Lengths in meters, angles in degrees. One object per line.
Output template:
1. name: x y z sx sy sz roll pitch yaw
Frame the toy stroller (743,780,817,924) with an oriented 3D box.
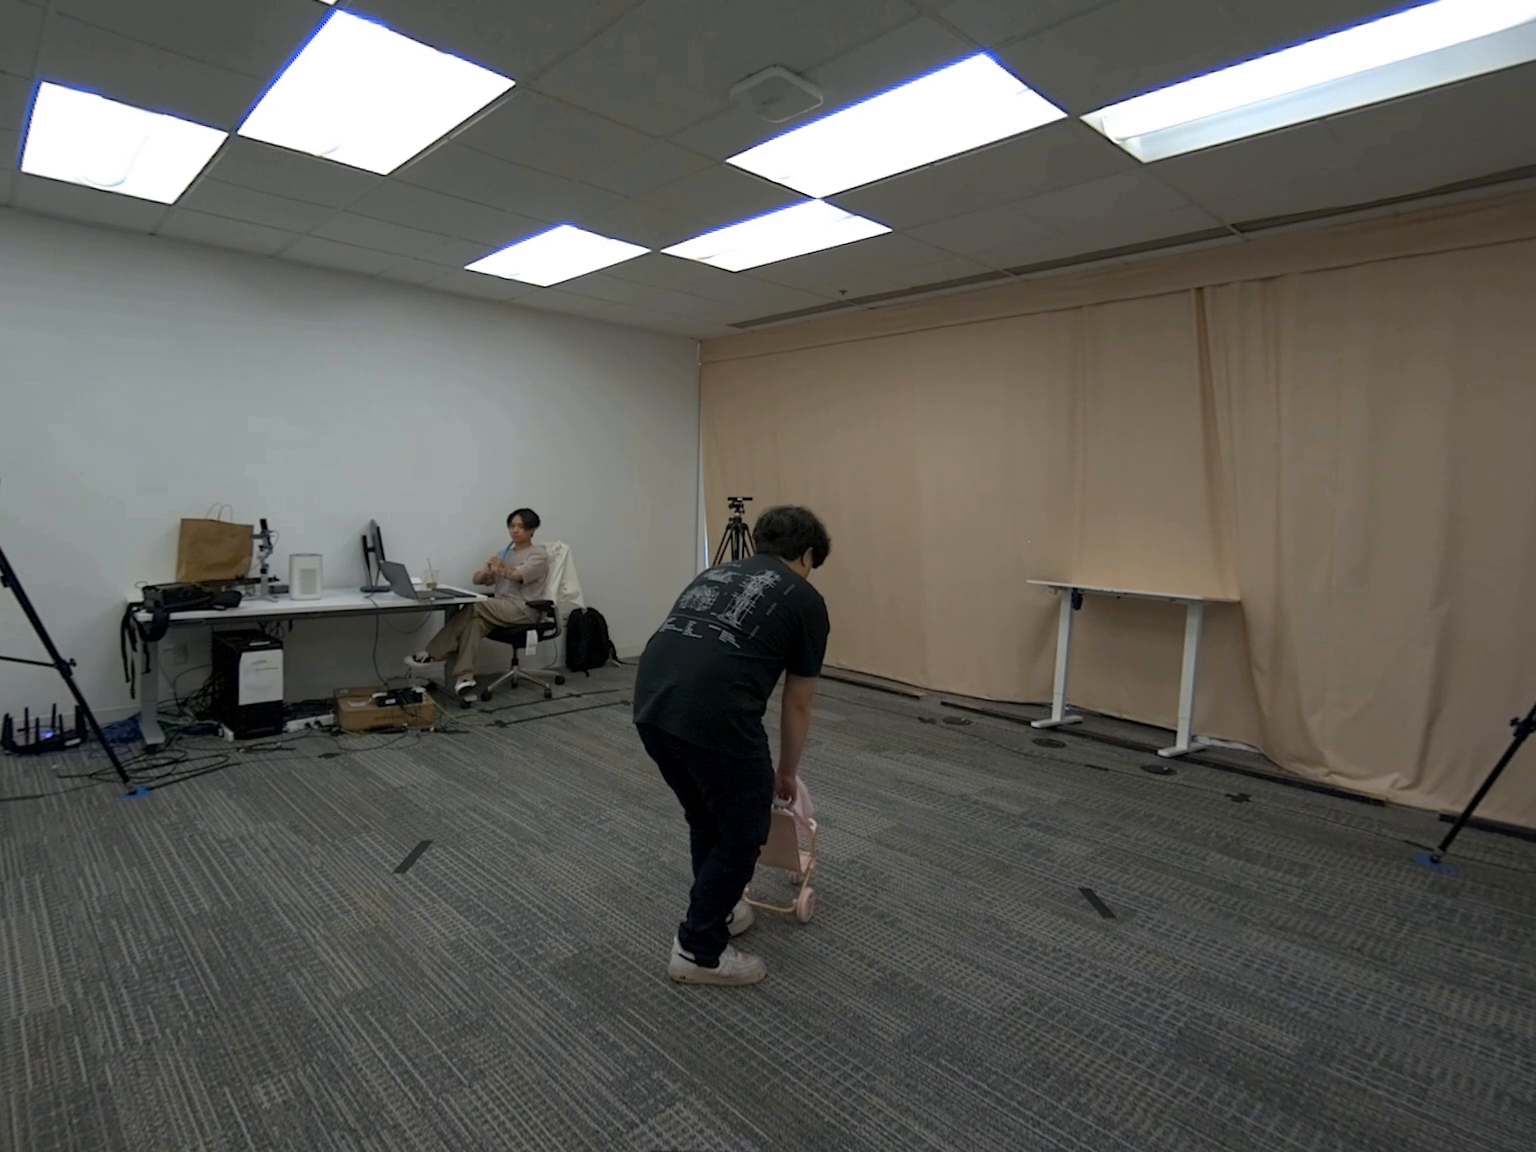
1. toy stroller: 0.039 0.904 2.878 0.287 0.528 0.339 5 18 25
